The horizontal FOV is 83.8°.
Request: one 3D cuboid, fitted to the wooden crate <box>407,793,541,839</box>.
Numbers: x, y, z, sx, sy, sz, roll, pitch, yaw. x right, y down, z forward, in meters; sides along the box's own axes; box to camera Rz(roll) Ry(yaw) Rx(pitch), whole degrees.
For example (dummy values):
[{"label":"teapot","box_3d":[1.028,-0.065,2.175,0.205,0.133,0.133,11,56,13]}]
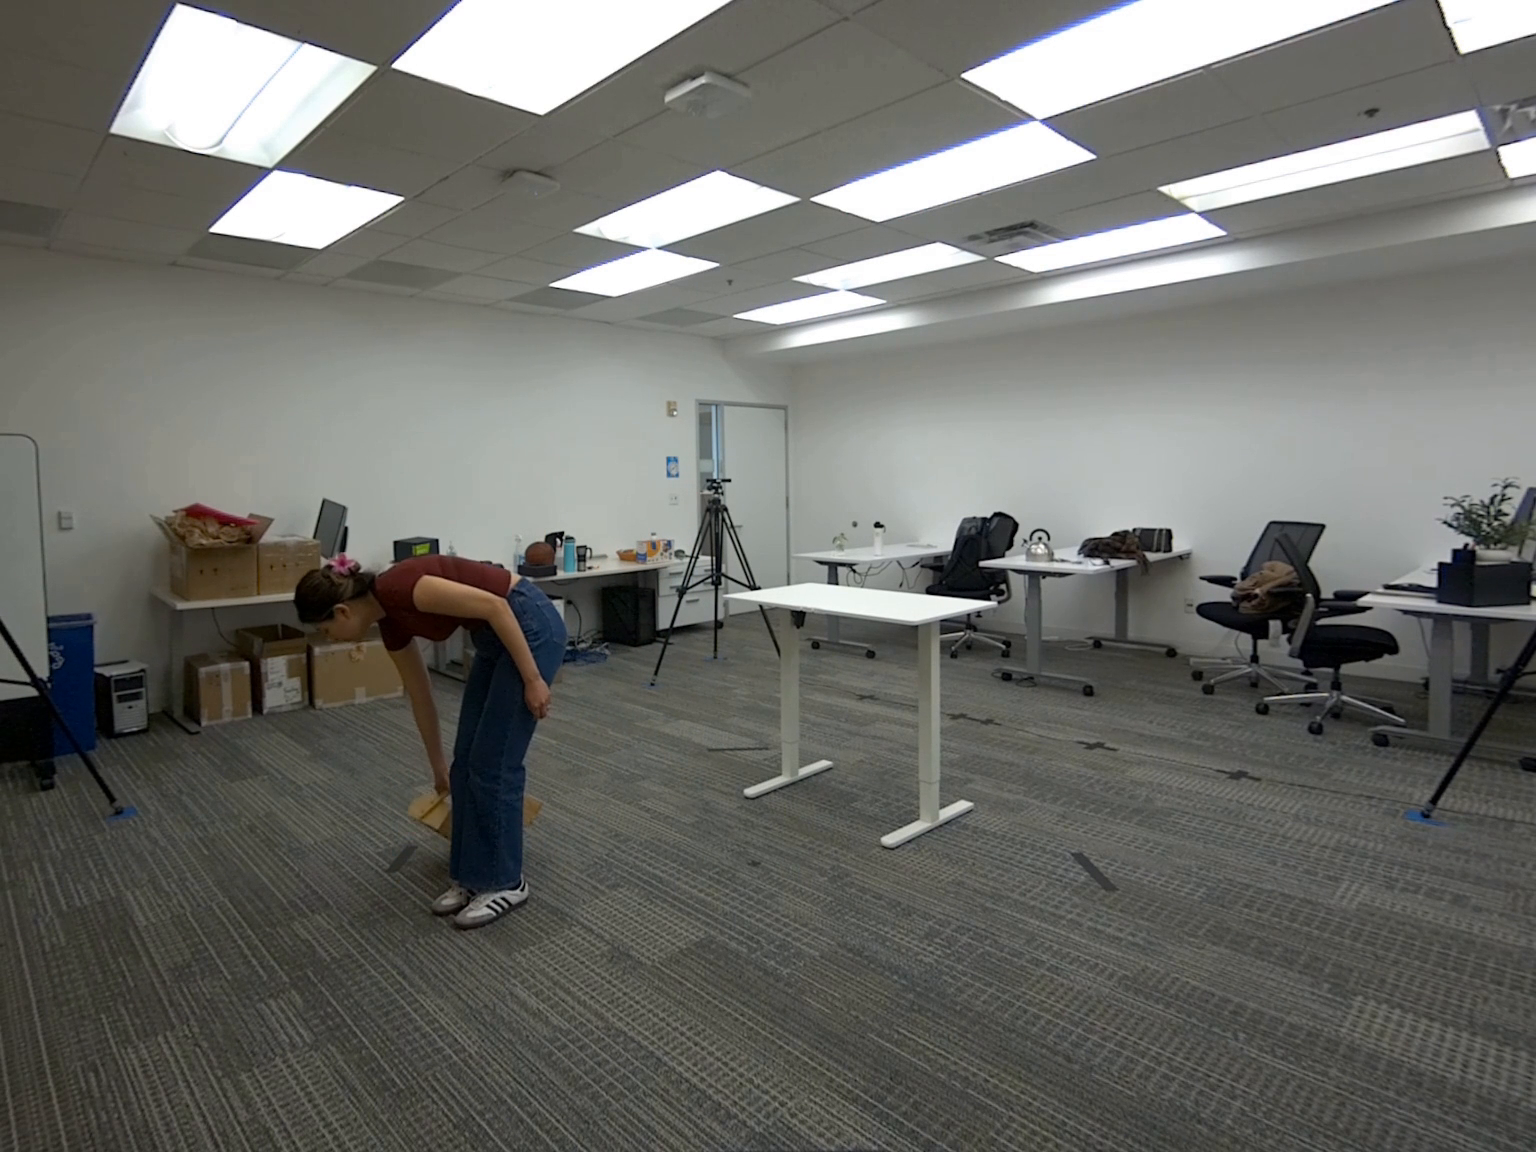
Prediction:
[{"label":"wooden crate","box_3d":[-1.088,0.859,3.161,0.311,0.275,0.312,3,-37,42]}]
